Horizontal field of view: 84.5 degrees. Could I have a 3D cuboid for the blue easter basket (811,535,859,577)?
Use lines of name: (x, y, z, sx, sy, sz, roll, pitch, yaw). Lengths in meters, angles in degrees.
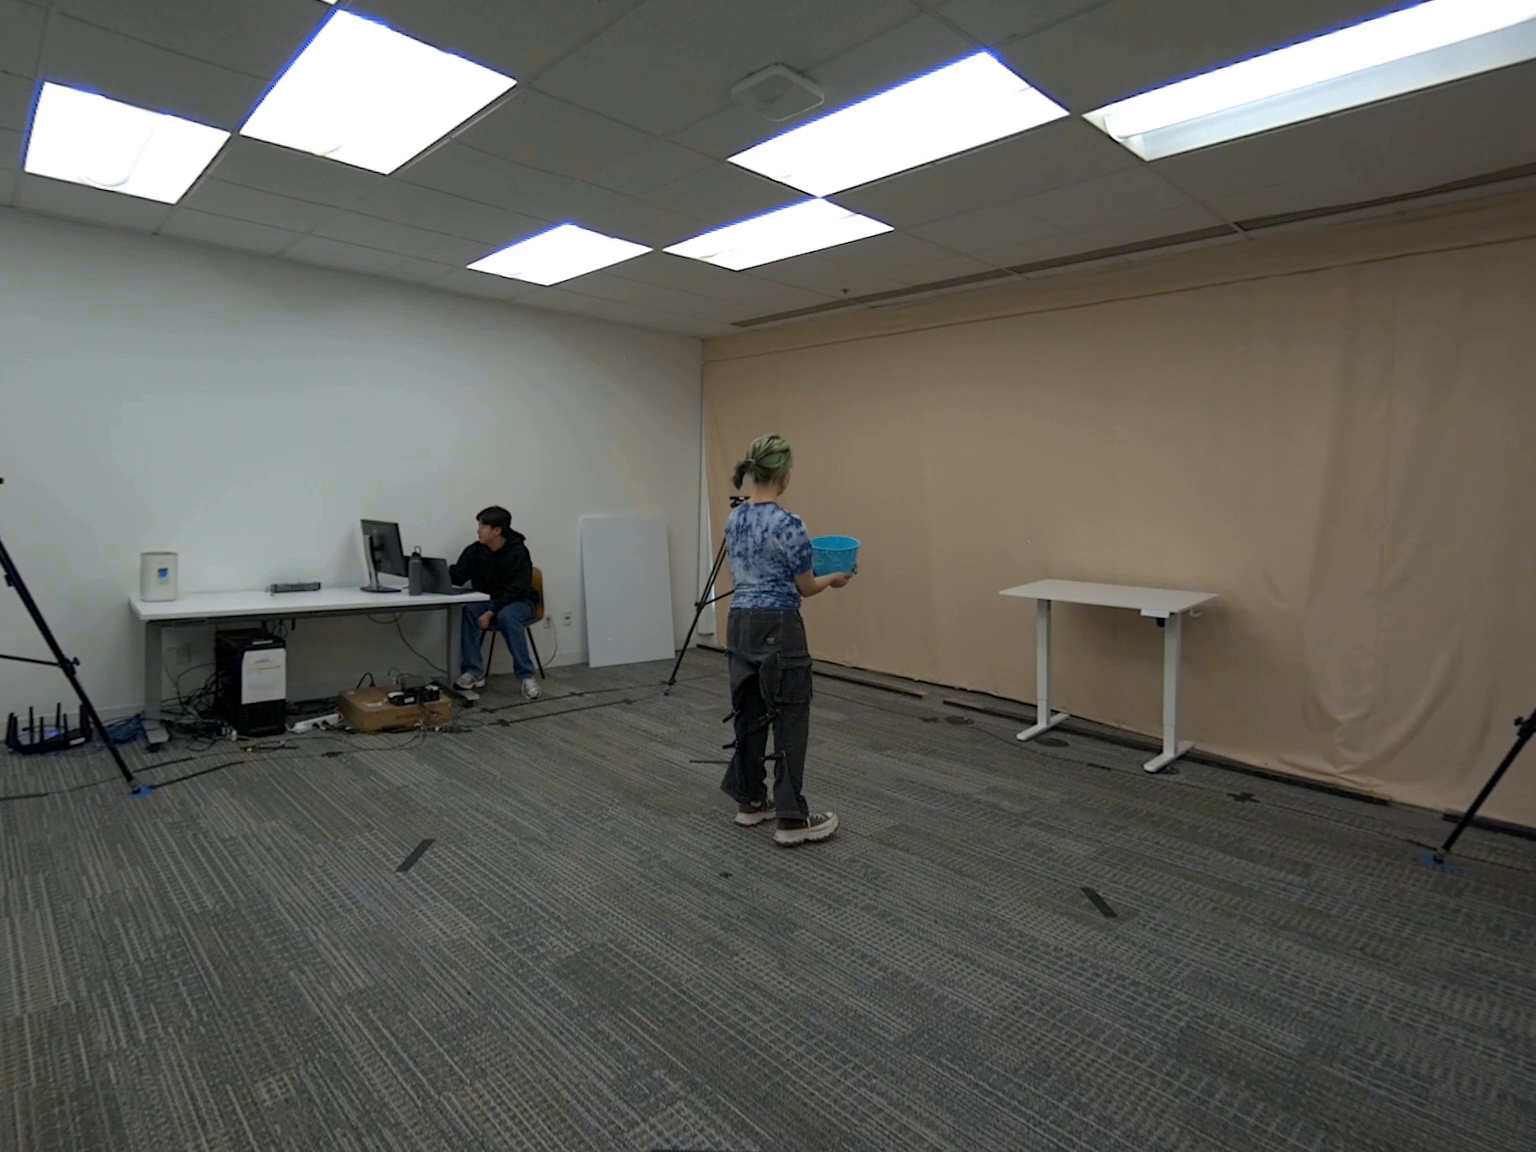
blue easter basket: (0.293, -0.077, 3.816, 0.243, 0.154, 0.246, -1, 16, -1)
